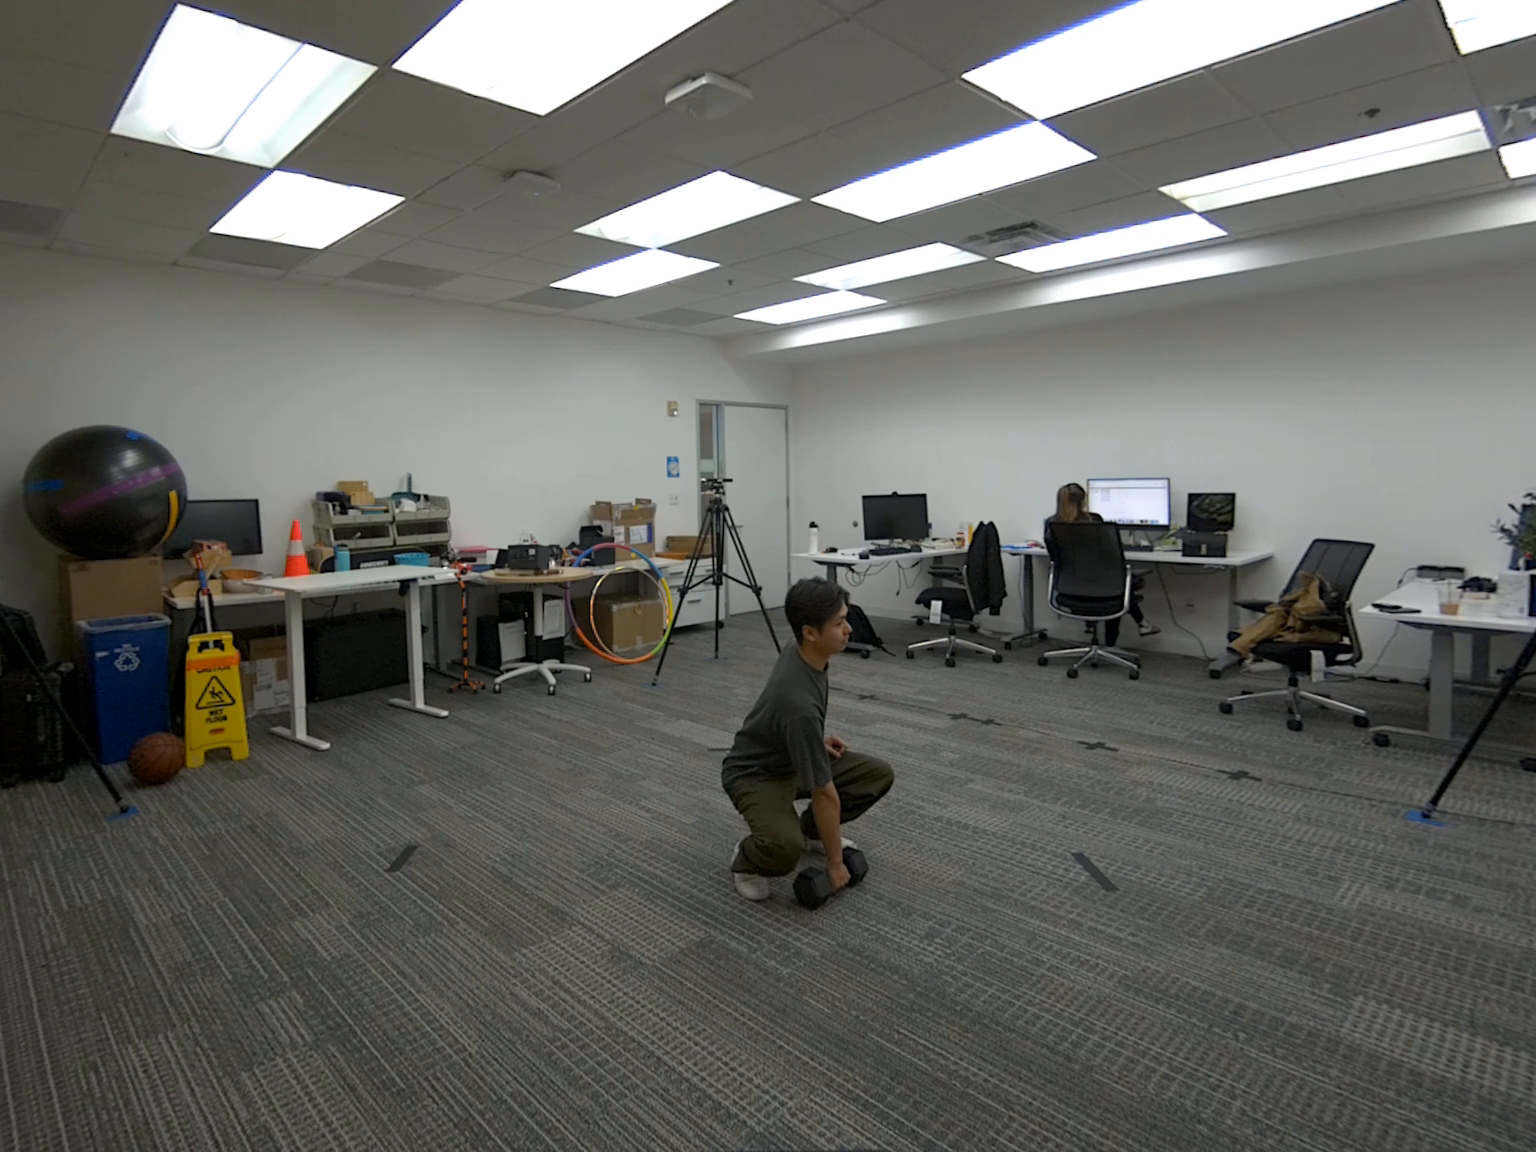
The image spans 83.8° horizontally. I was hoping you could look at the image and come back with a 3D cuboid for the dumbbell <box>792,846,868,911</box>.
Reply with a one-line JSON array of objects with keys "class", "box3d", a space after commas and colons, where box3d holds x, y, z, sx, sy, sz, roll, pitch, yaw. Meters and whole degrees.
[{"class": "dumbbell", "box3d": [0.213, 1.013, 2.866, 0.286, 0.121, 0.113, -10, 42, -44]}]
